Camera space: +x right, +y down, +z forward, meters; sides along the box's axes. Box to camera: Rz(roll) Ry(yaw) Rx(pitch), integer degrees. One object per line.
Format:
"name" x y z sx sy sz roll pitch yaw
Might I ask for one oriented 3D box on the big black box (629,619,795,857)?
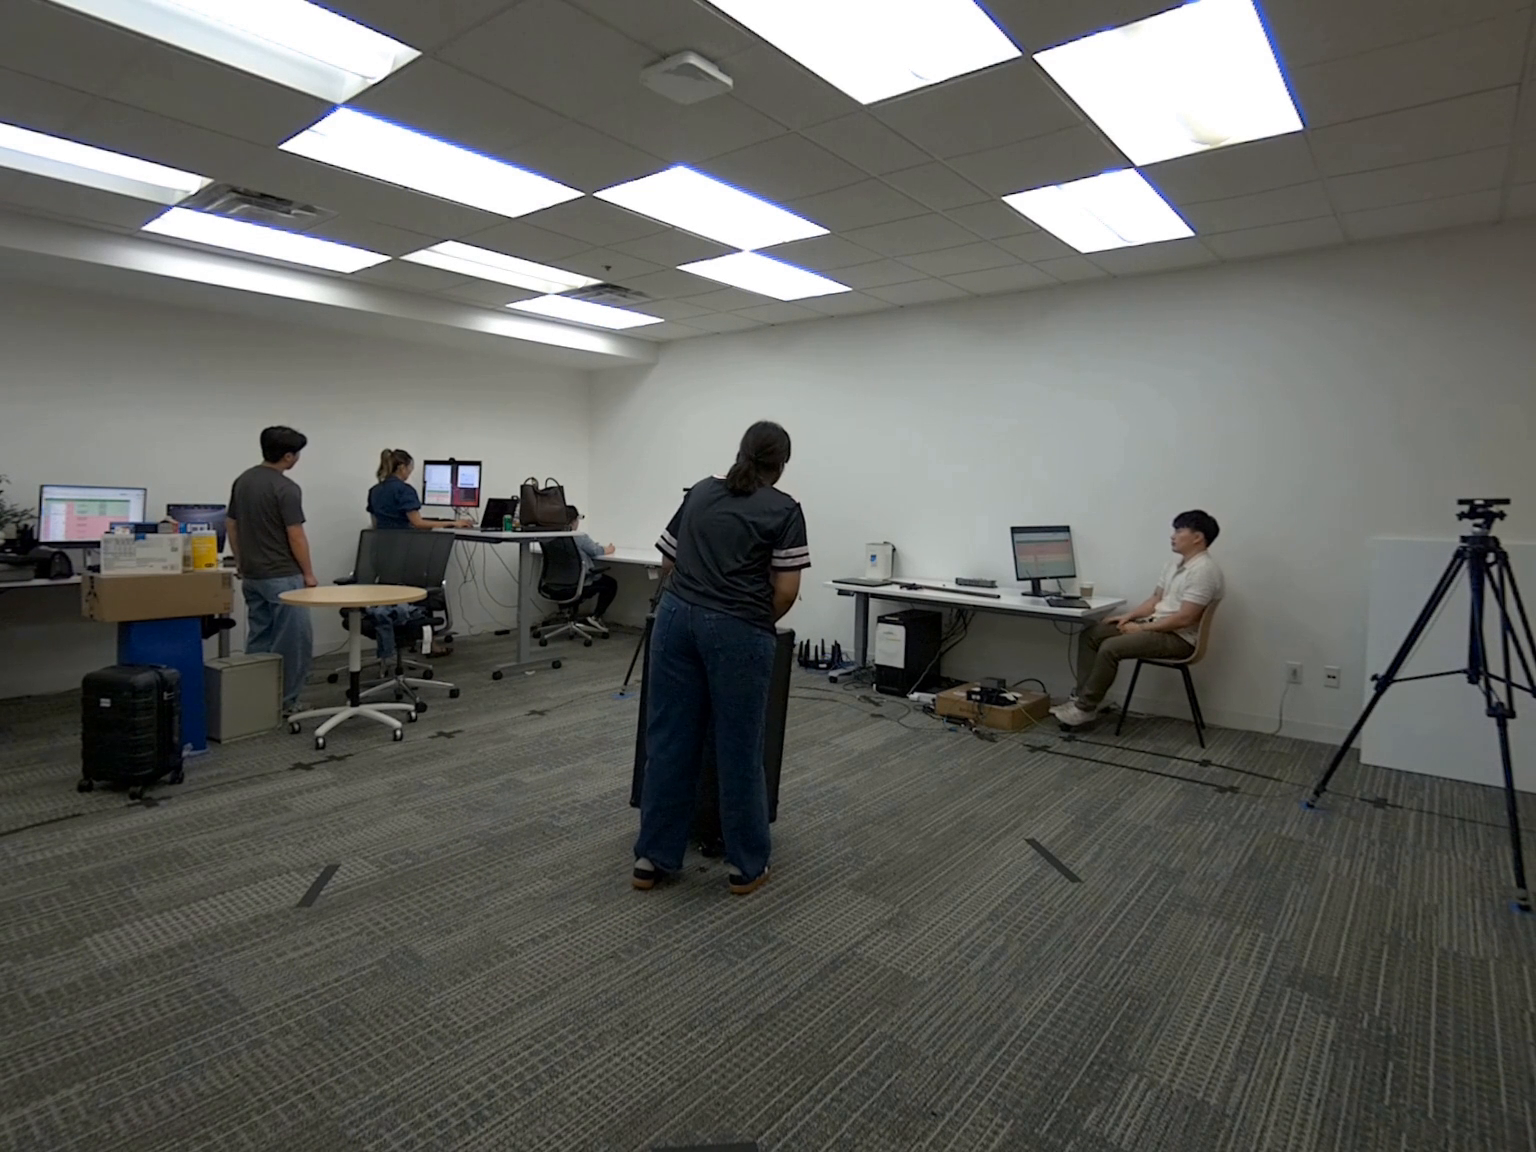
"big black box" -0.241 0.606 3.418 0.541 0.865 0.373 10 6 35
